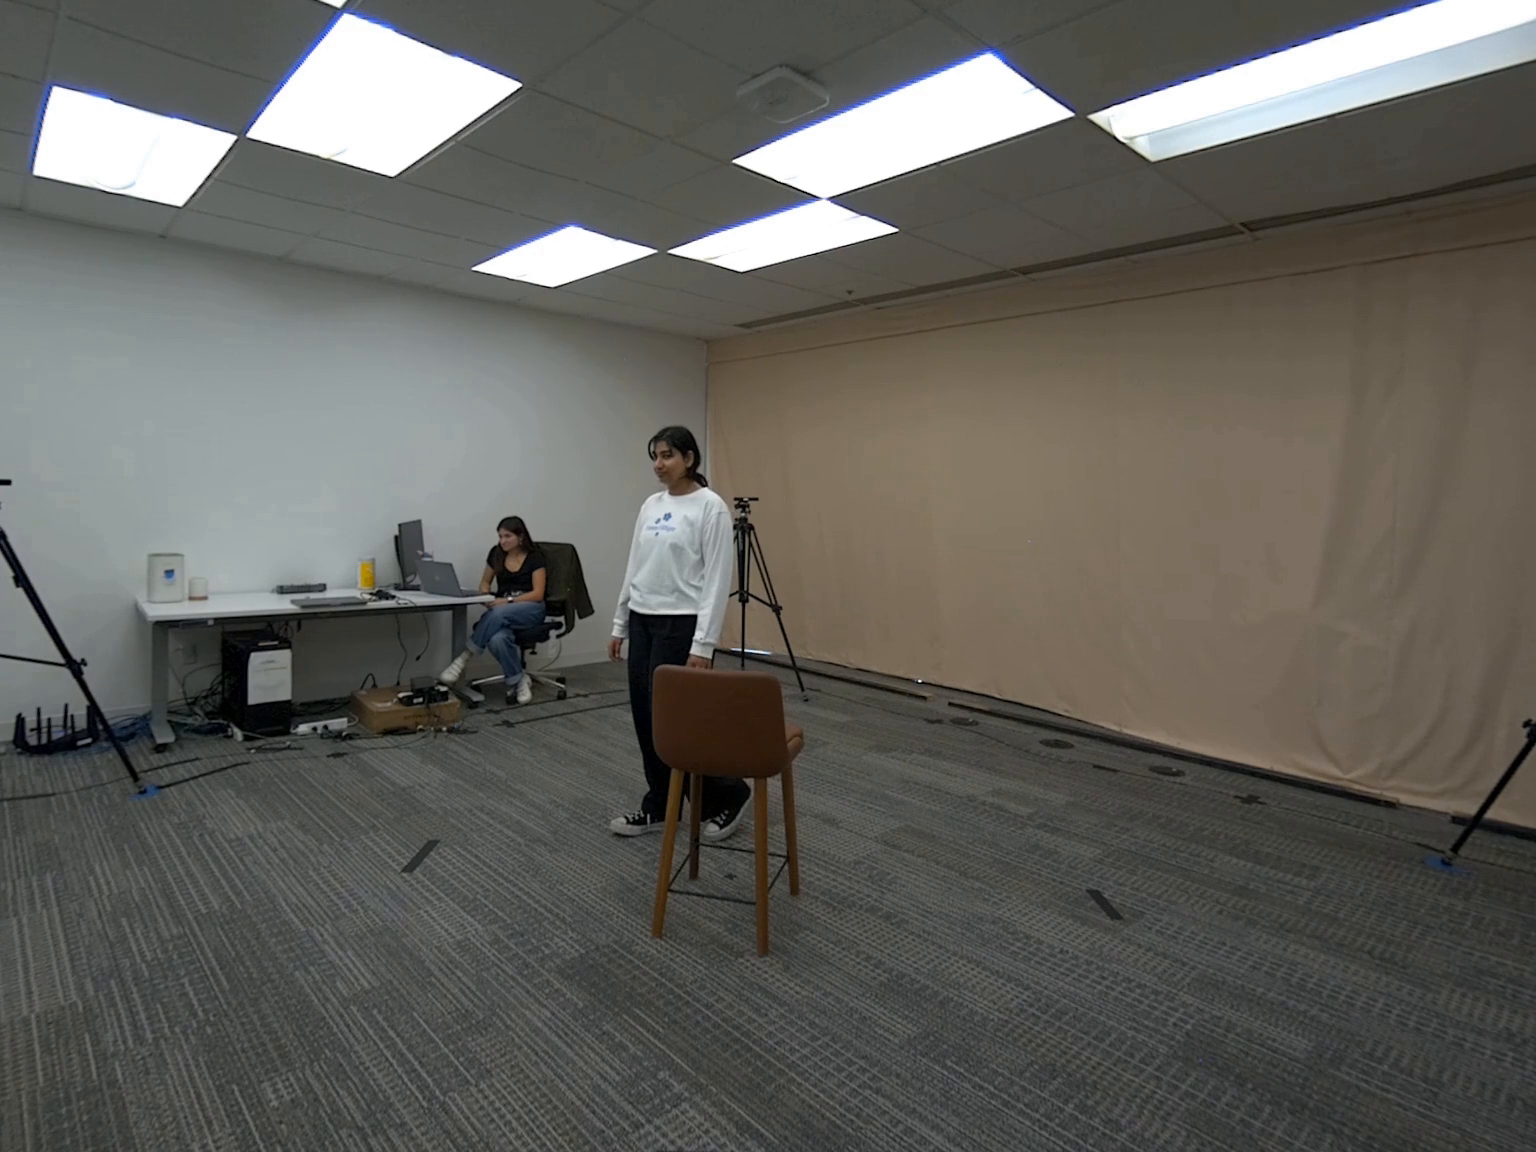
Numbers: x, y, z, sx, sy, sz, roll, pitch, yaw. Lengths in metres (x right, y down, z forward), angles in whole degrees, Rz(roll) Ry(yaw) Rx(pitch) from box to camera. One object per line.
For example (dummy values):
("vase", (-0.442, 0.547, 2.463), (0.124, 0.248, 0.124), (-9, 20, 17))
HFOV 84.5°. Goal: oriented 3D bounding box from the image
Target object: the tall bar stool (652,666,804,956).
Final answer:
("tall bar stool", (-0.132, 0.702, 2.790), (0.462, 0.886, 0.463), (2, 6, 15))
